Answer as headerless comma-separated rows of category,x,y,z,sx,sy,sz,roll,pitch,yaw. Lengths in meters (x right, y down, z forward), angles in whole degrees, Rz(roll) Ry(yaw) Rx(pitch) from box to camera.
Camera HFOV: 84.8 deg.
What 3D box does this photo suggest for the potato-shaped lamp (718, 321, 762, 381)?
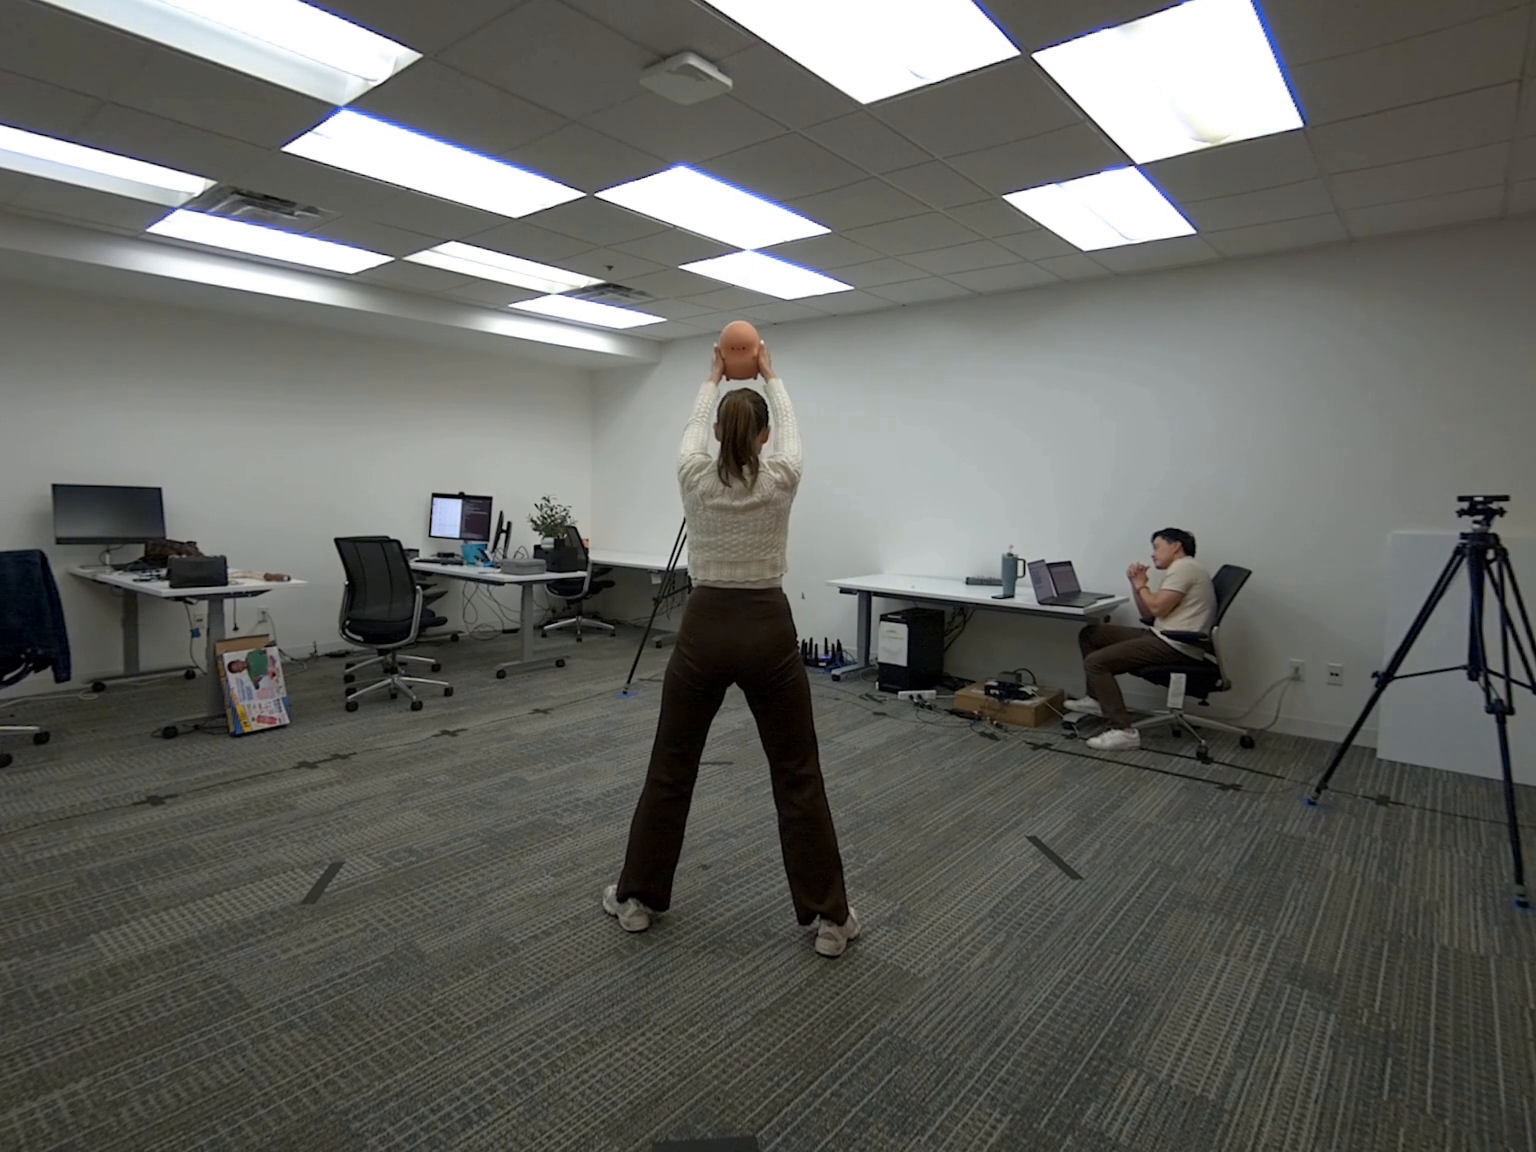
potato-shaped lamp,-0.106,-0.815,3.083,0.166,0.175,0.192,5,-42,8
